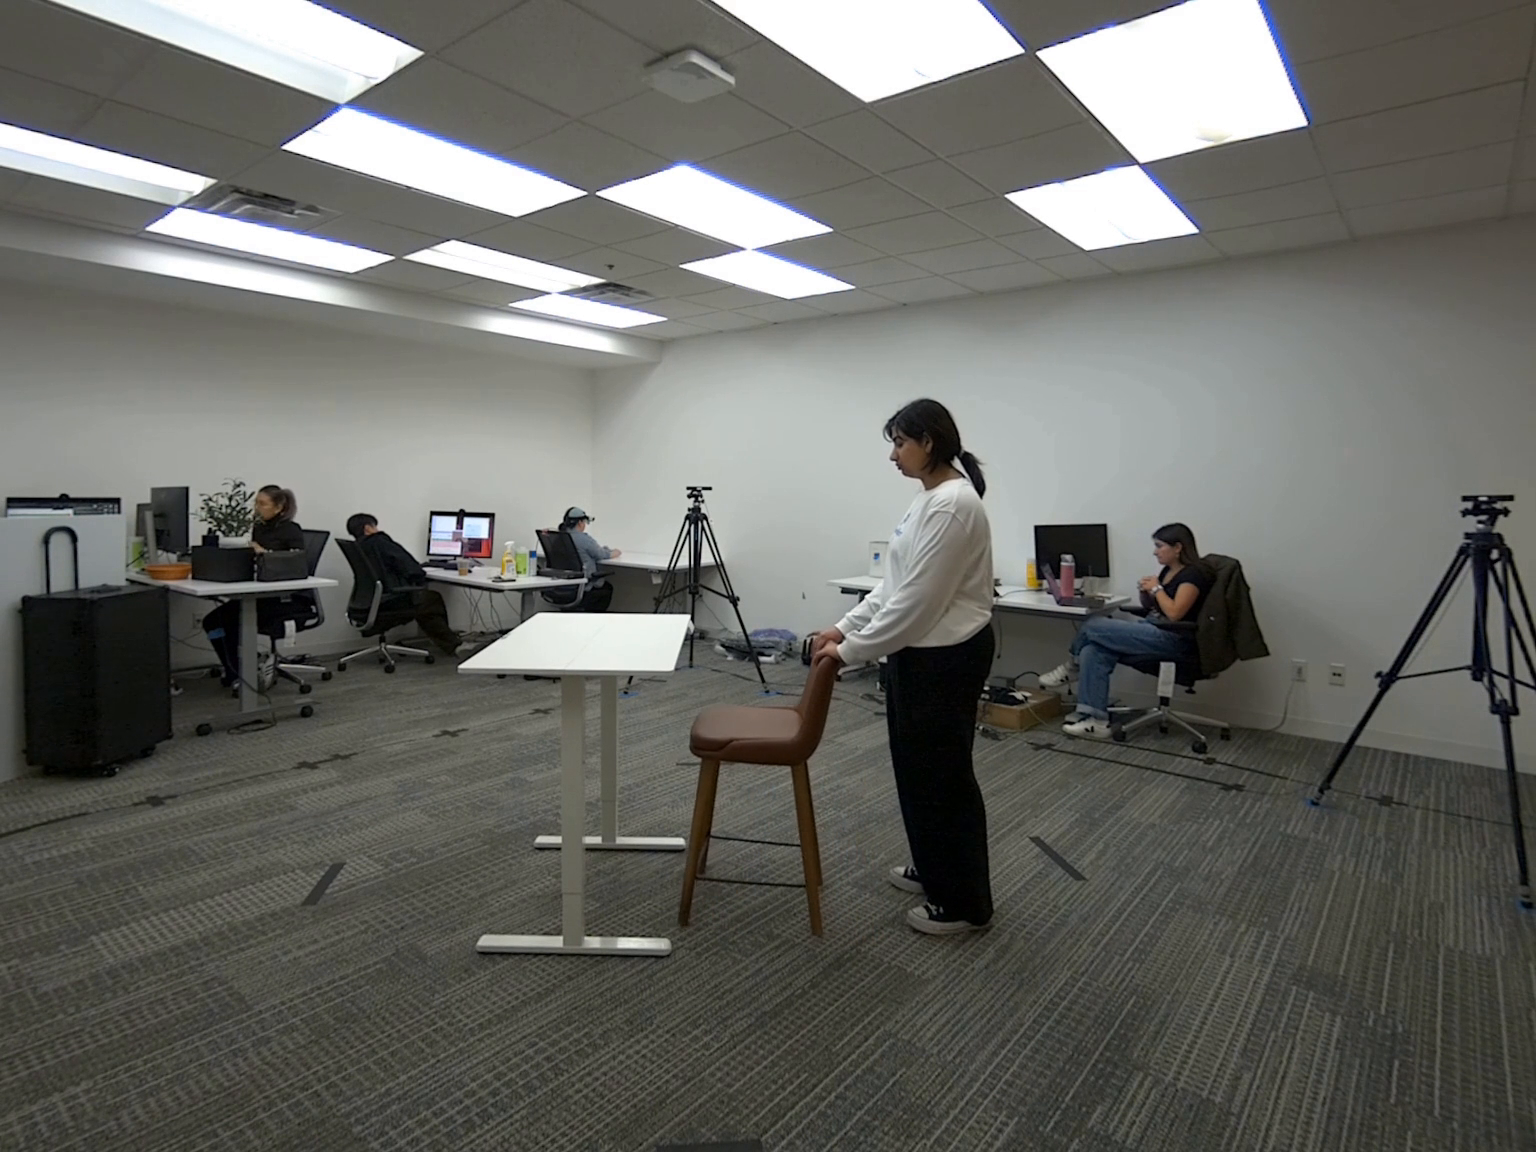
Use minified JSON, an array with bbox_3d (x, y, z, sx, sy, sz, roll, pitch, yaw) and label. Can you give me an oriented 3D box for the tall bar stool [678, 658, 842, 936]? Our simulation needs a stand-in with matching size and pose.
[{"bbox_3d":[-0.026,0.657,2.841,0.472,0.887,0.454,4,3,7],"label":"tall bar stool"}]
